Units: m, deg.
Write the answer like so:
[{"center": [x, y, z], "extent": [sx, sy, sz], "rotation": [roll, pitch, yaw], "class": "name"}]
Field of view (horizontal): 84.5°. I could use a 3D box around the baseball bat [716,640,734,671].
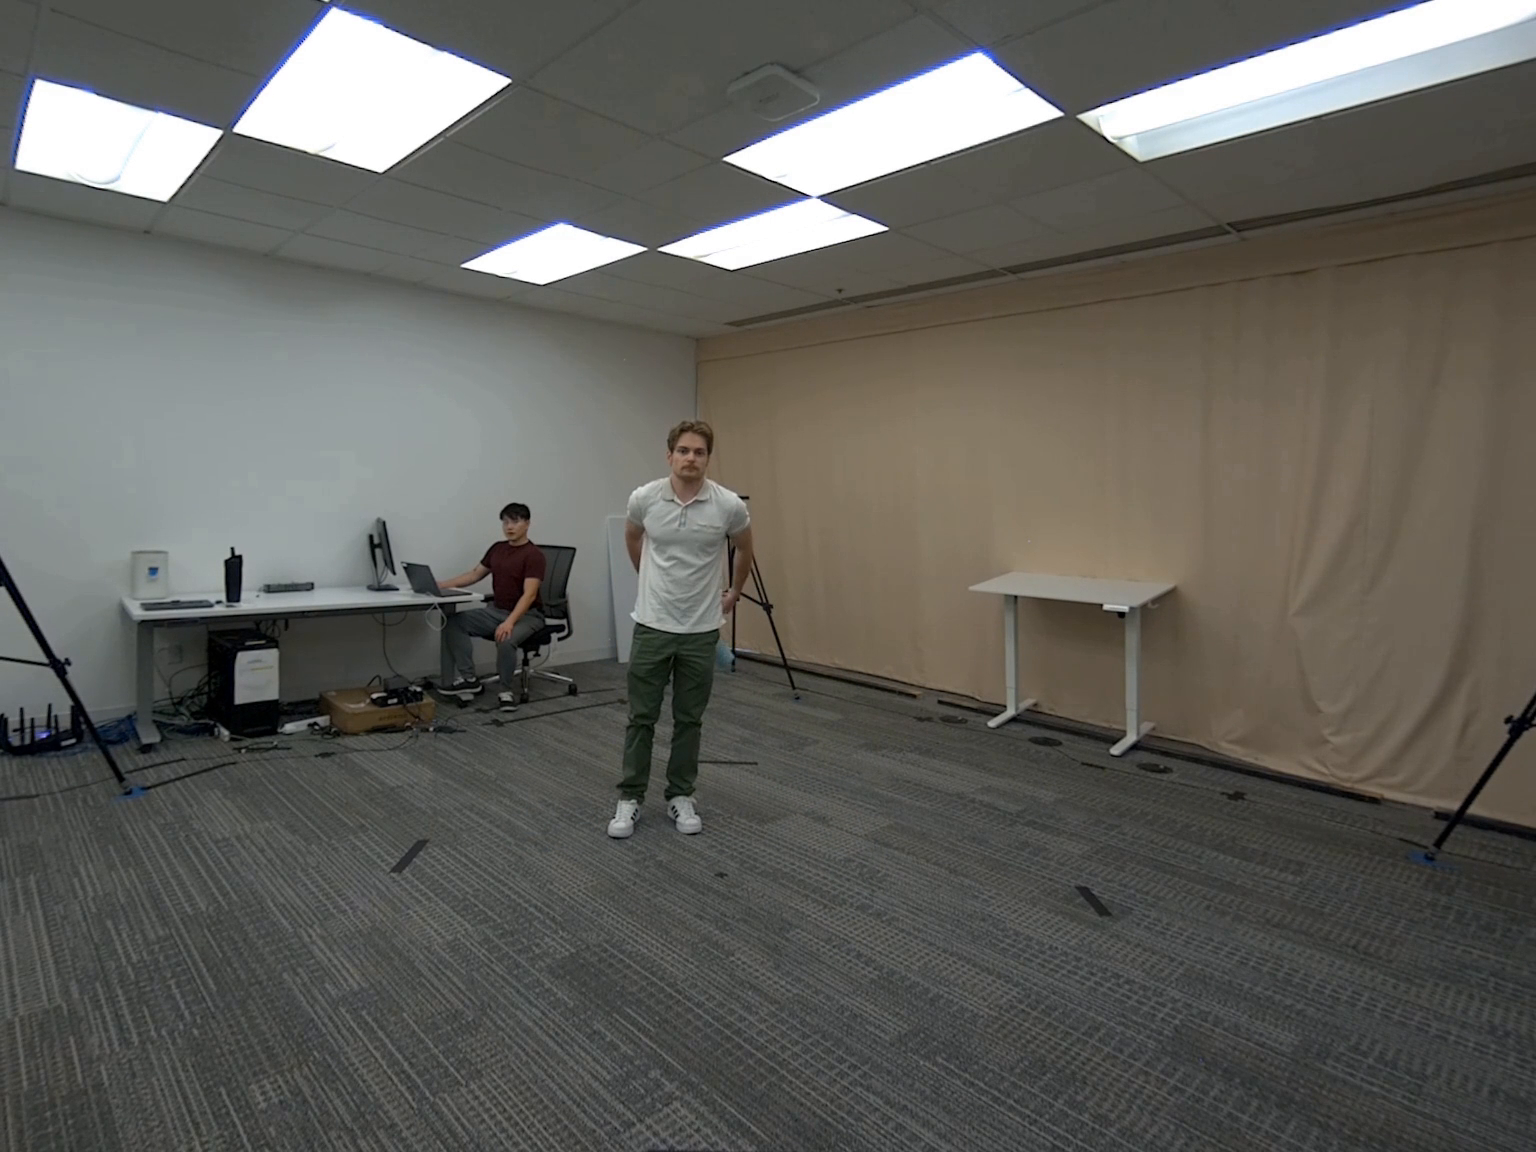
[{"center": [-0.353, 0.197, 3.844], "extent": [0.089, 0.542, 0.089], "rotation": [-38, 1, 0], "class": "baseball bat"}]
